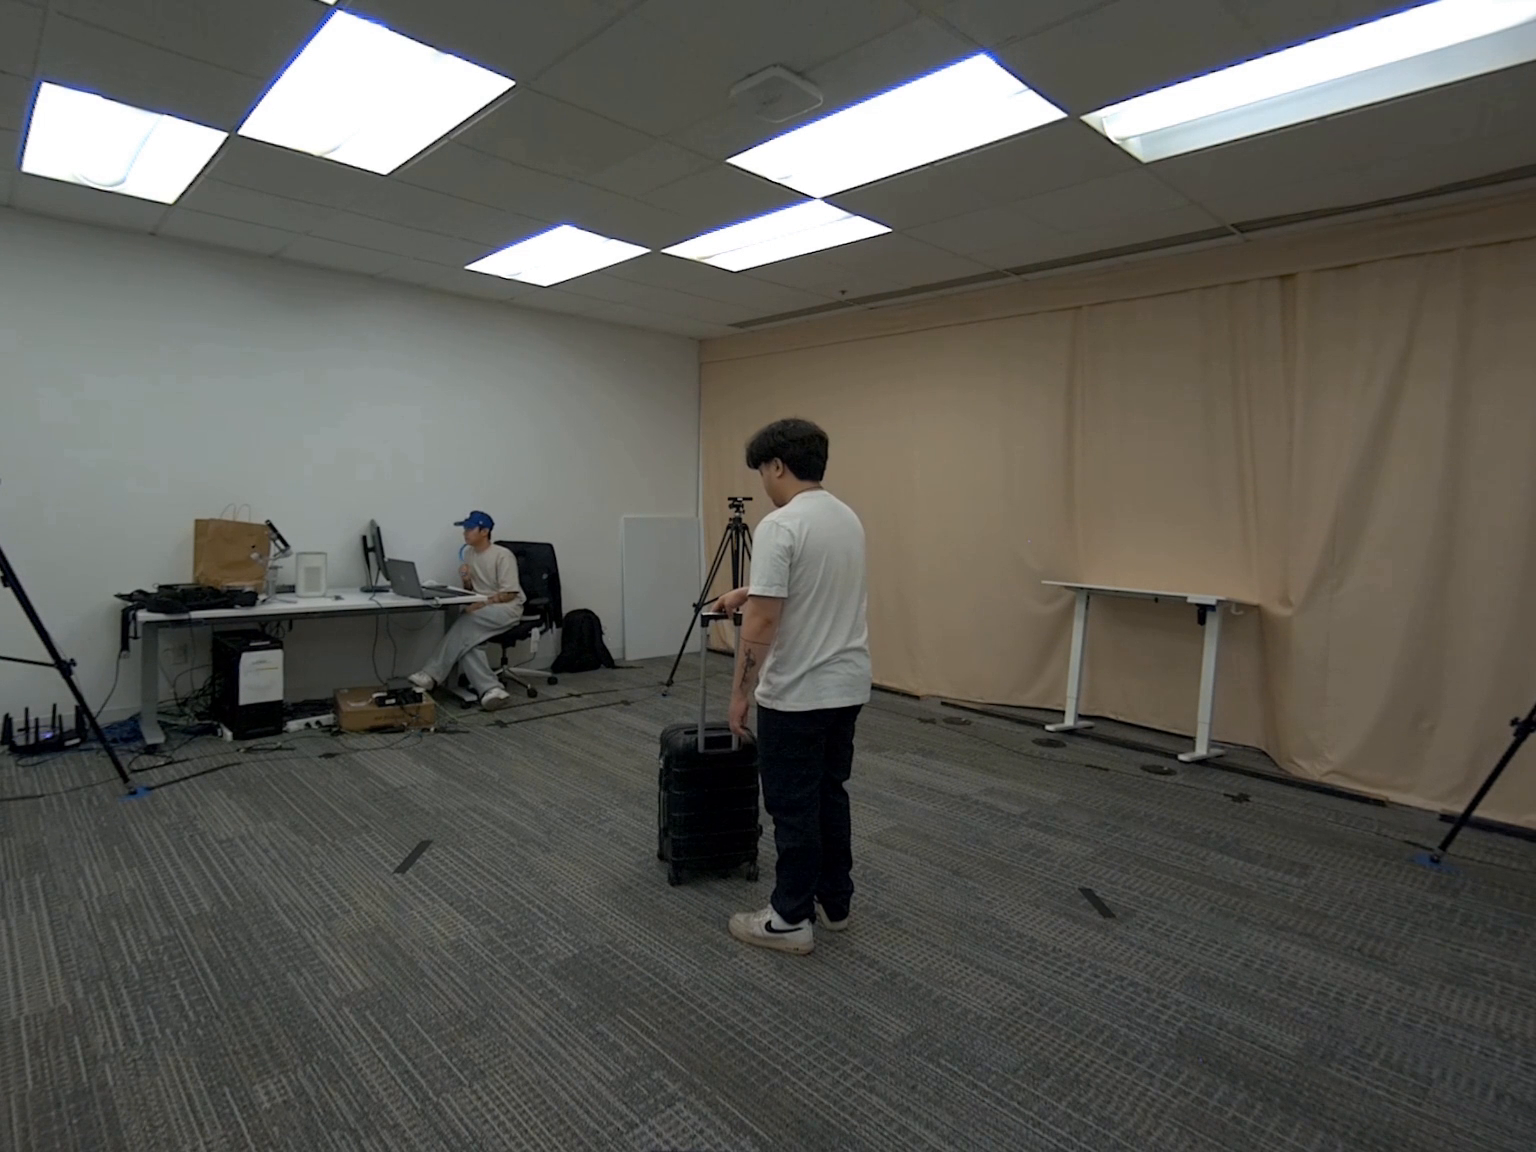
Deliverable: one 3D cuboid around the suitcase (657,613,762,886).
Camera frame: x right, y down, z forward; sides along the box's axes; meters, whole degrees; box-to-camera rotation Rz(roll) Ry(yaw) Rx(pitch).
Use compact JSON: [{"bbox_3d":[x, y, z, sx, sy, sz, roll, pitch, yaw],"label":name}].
[{"bbox_3d":[-0.223,0.629,3.132,0.379,0.977,0.260,2,2,-15],"label":"suitcase"}]
